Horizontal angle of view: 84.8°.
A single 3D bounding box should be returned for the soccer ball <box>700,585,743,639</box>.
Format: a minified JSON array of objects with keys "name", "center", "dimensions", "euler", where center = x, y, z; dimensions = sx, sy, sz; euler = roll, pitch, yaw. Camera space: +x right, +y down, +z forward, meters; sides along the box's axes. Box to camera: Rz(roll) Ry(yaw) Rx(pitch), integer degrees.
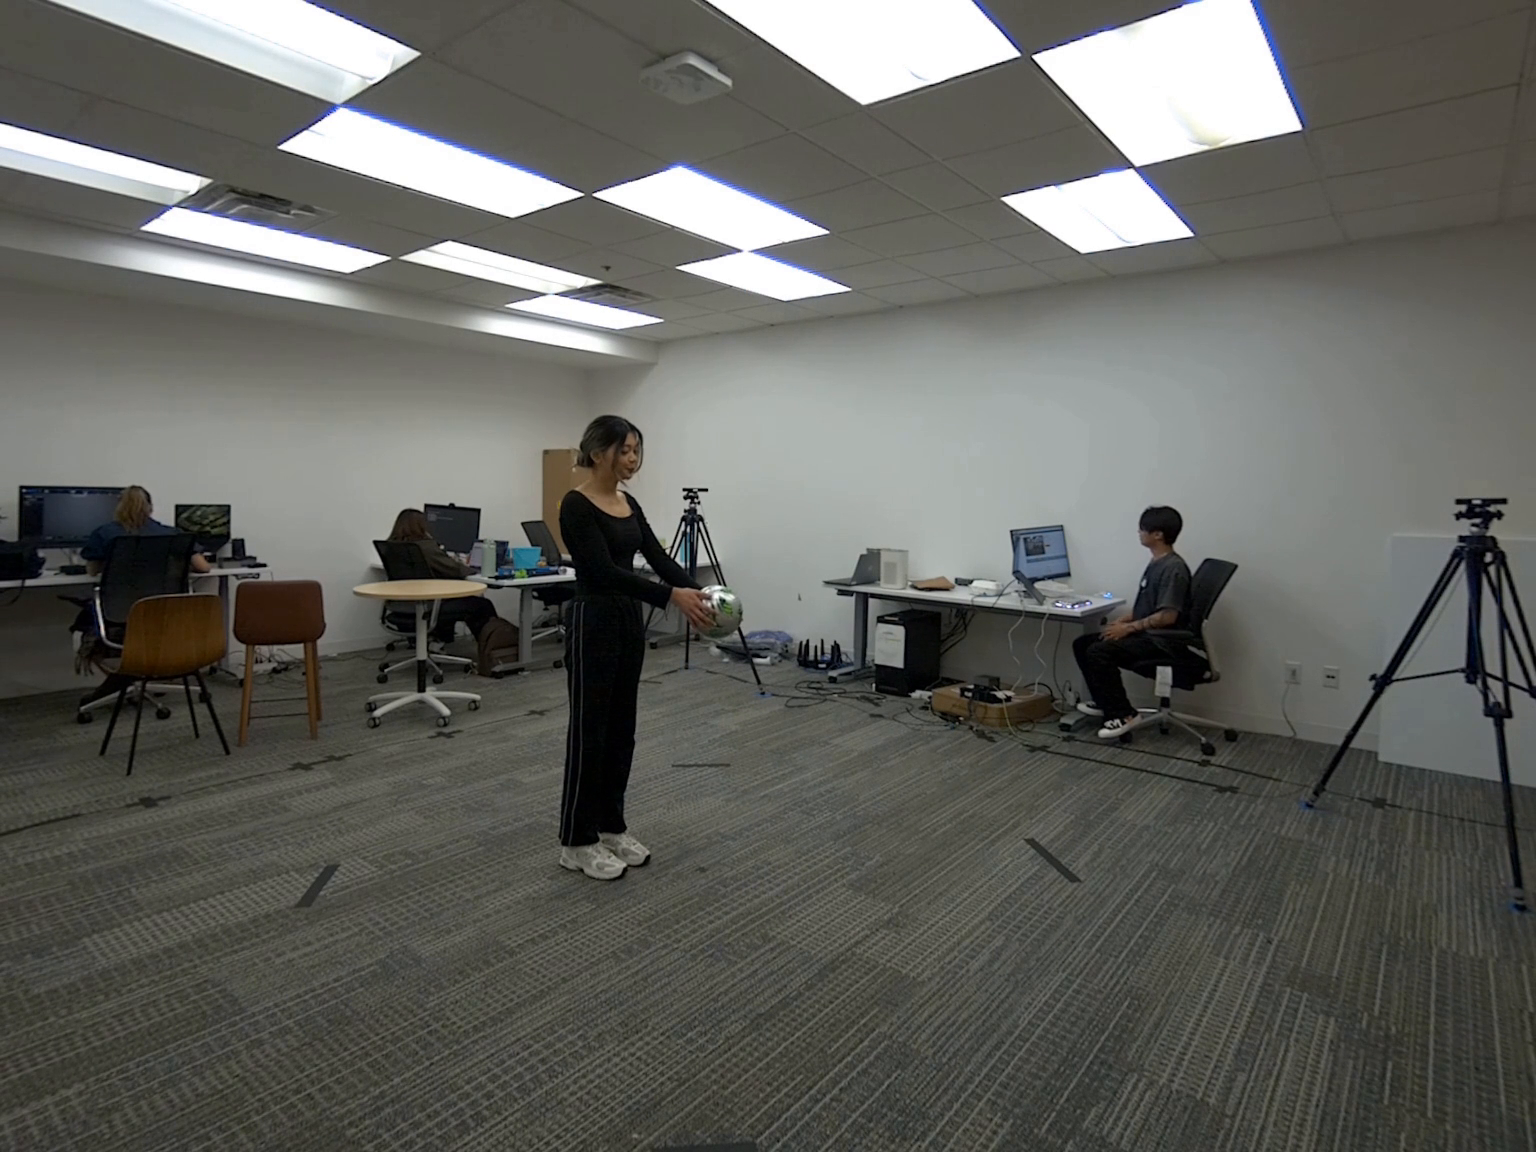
[{"name":"soccer ball","center":[-0.195,0.121,2.966],"dimensions":[0.187,0.187,0.188],"euler":[1,4,-2]}]
